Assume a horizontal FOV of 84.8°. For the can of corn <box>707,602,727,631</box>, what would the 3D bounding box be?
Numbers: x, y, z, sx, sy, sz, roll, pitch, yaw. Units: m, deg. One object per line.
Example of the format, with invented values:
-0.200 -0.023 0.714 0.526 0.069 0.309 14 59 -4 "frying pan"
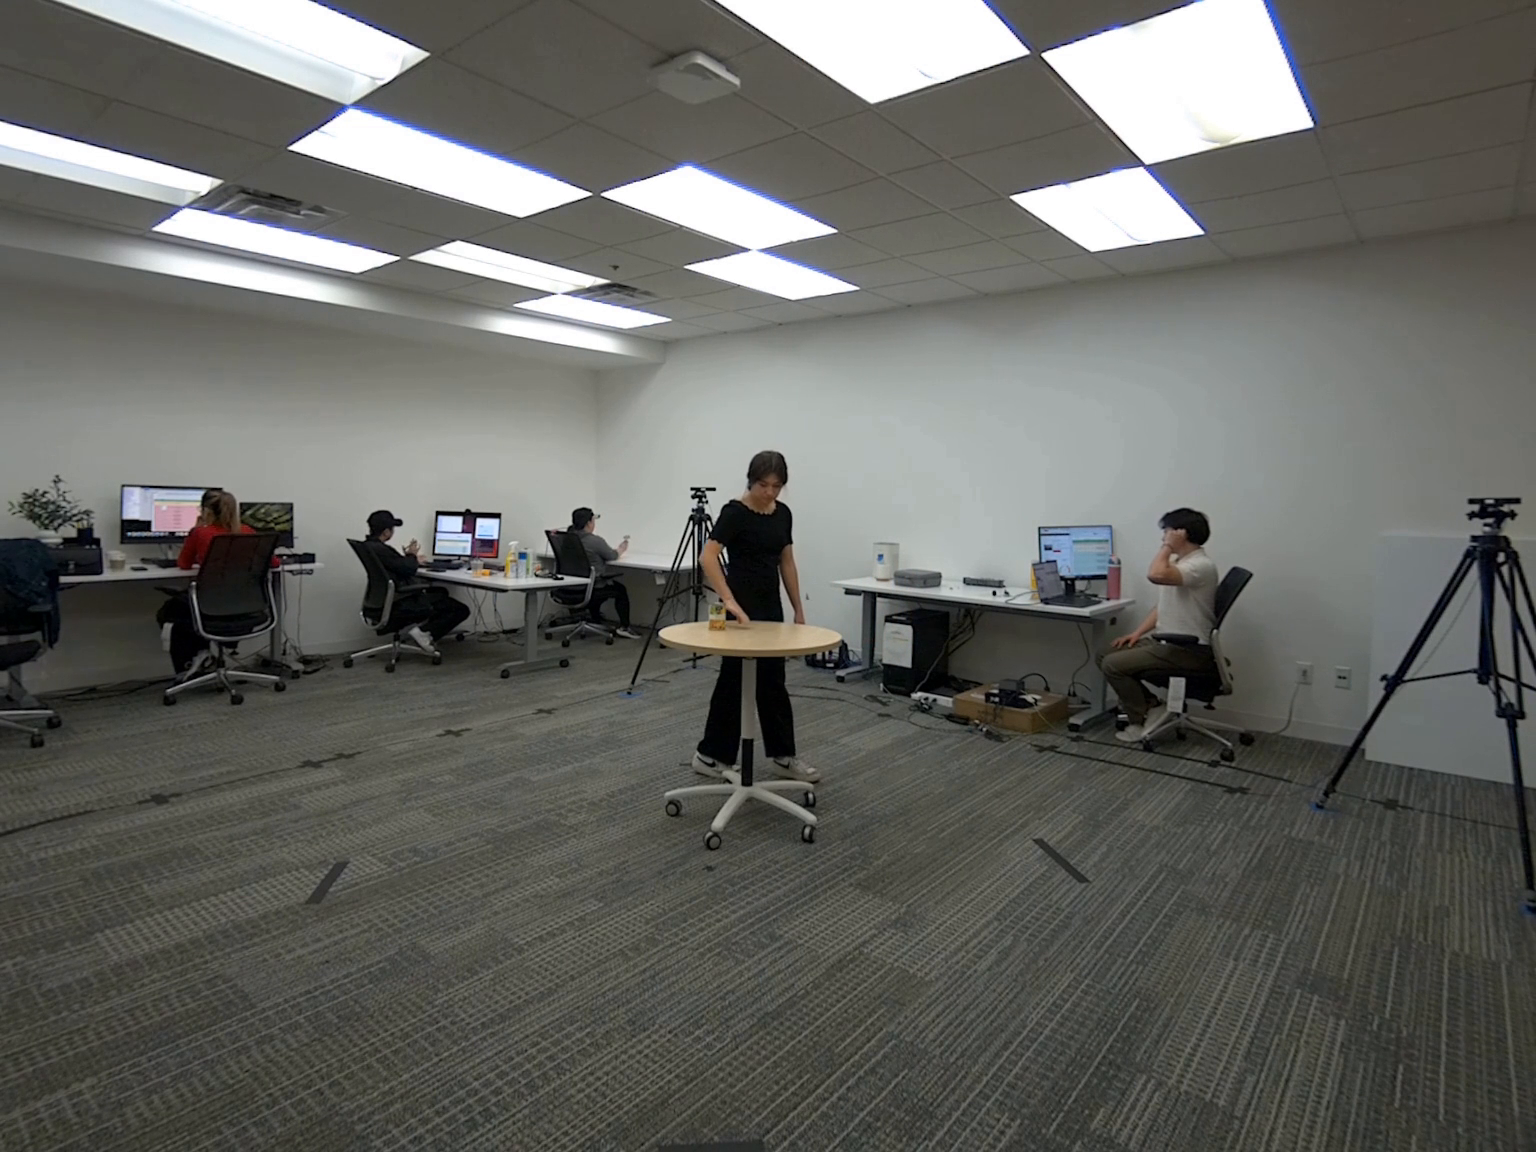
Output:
-0.233 0.174 3.678 0.074 0.111 0.074 1 0 -2 "can of corn"
